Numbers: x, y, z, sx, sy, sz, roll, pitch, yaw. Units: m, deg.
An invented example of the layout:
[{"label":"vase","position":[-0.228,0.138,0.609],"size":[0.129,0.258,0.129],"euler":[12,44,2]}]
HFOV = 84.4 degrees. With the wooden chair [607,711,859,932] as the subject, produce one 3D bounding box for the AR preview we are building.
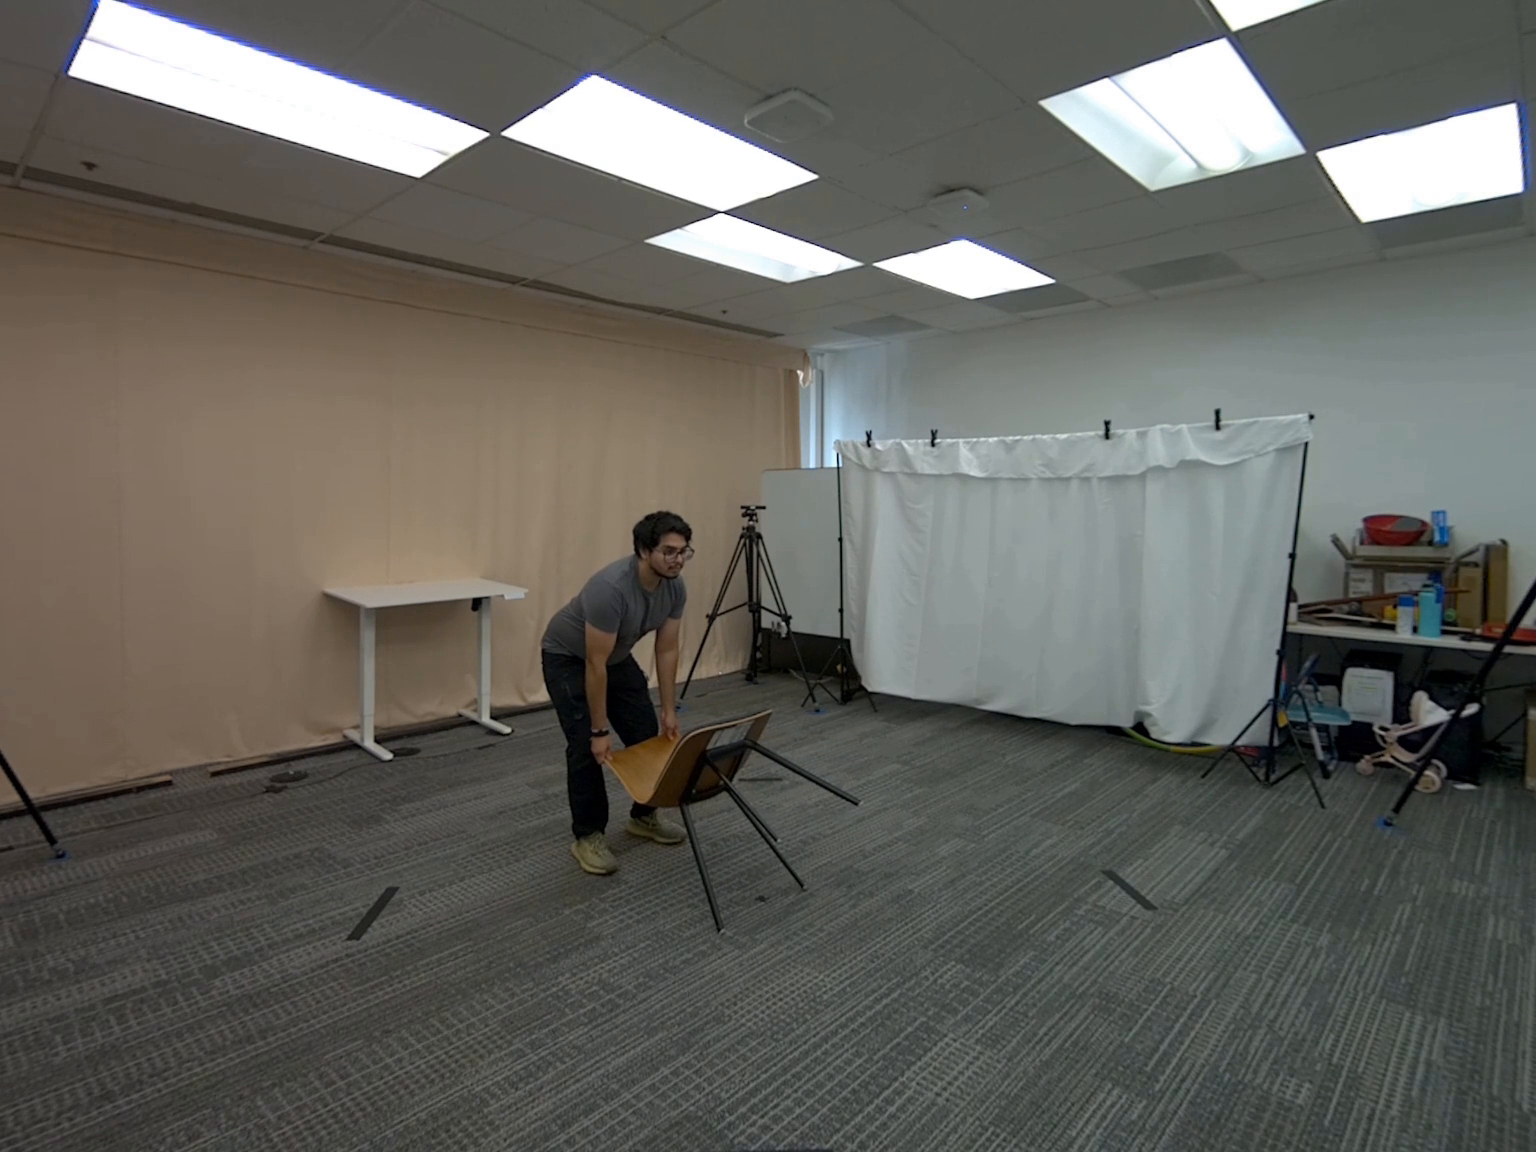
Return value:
[{"label":"wooden chair","position":[-0.185,0.712,3.029],"size":[0.463,0.521,0.908],"euler":[-5,35,-48]}]
